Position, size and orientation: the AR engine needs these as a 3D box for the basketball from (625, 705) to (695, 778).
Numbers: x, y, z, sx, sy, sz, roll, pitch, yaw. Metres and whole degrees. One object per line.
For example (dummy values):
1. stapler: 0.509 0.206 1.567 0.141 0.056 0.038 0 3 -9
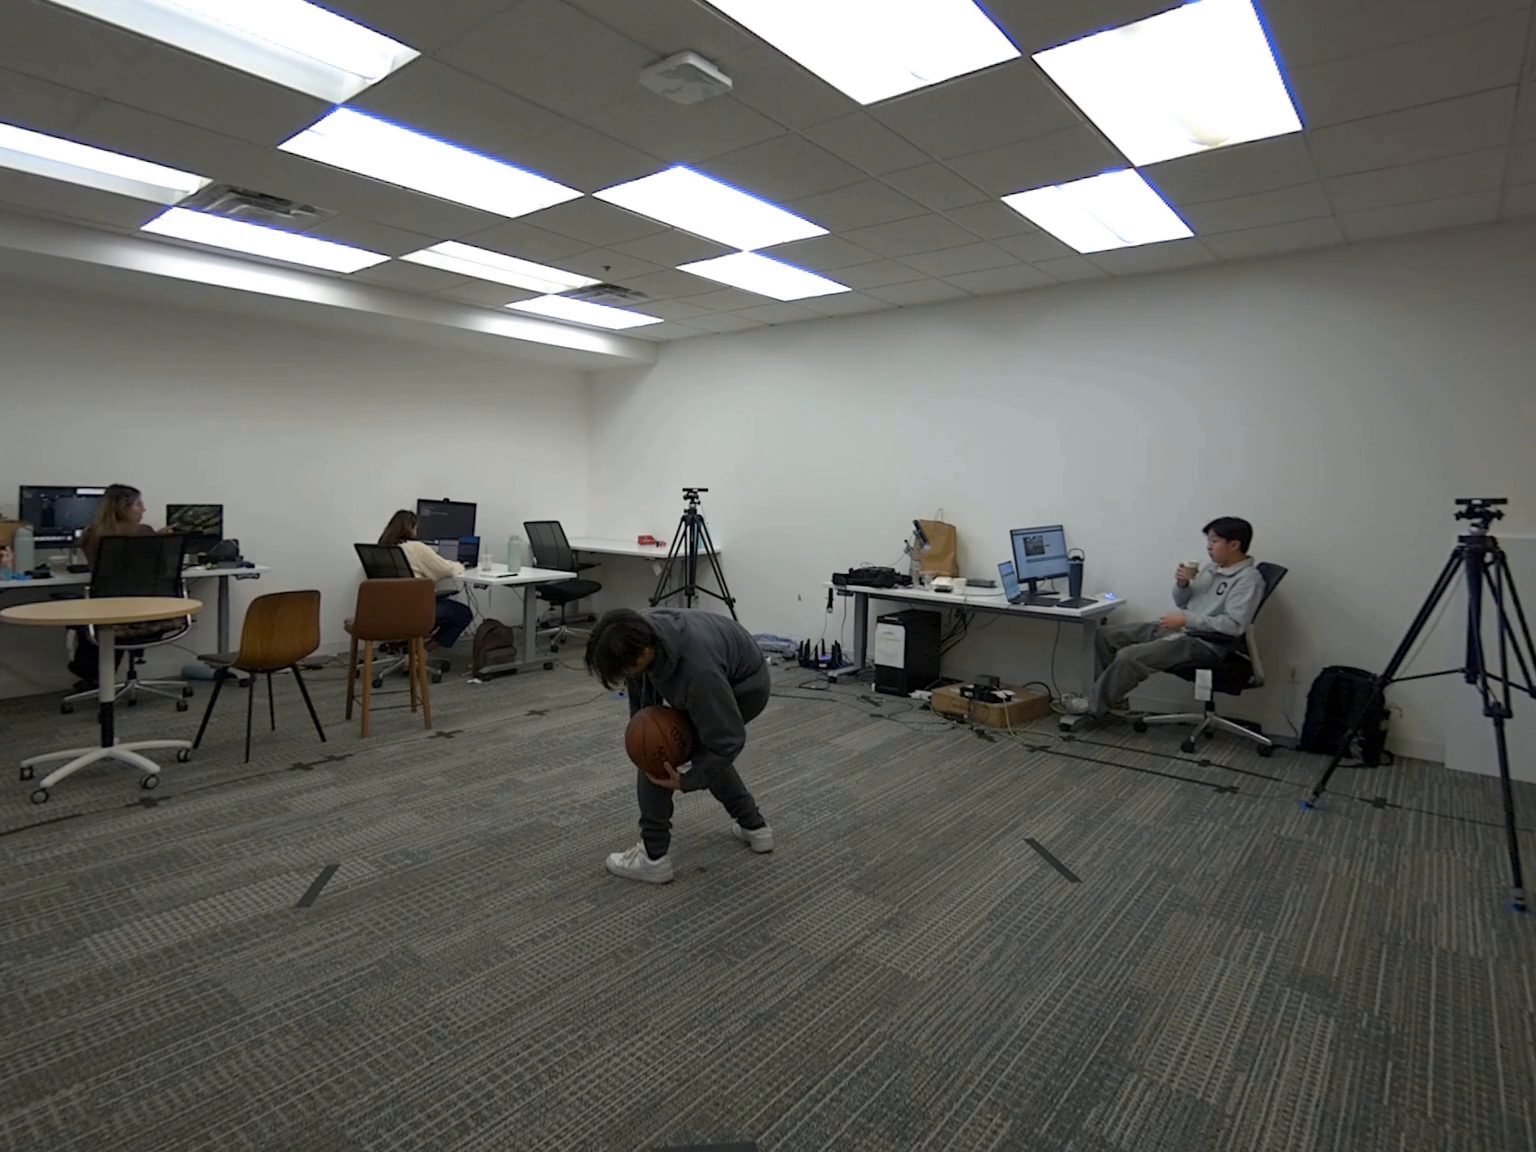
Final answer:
1. basketball: -0.387 0.576 3.019 0.235 0.235 0.237 1 4 -2
